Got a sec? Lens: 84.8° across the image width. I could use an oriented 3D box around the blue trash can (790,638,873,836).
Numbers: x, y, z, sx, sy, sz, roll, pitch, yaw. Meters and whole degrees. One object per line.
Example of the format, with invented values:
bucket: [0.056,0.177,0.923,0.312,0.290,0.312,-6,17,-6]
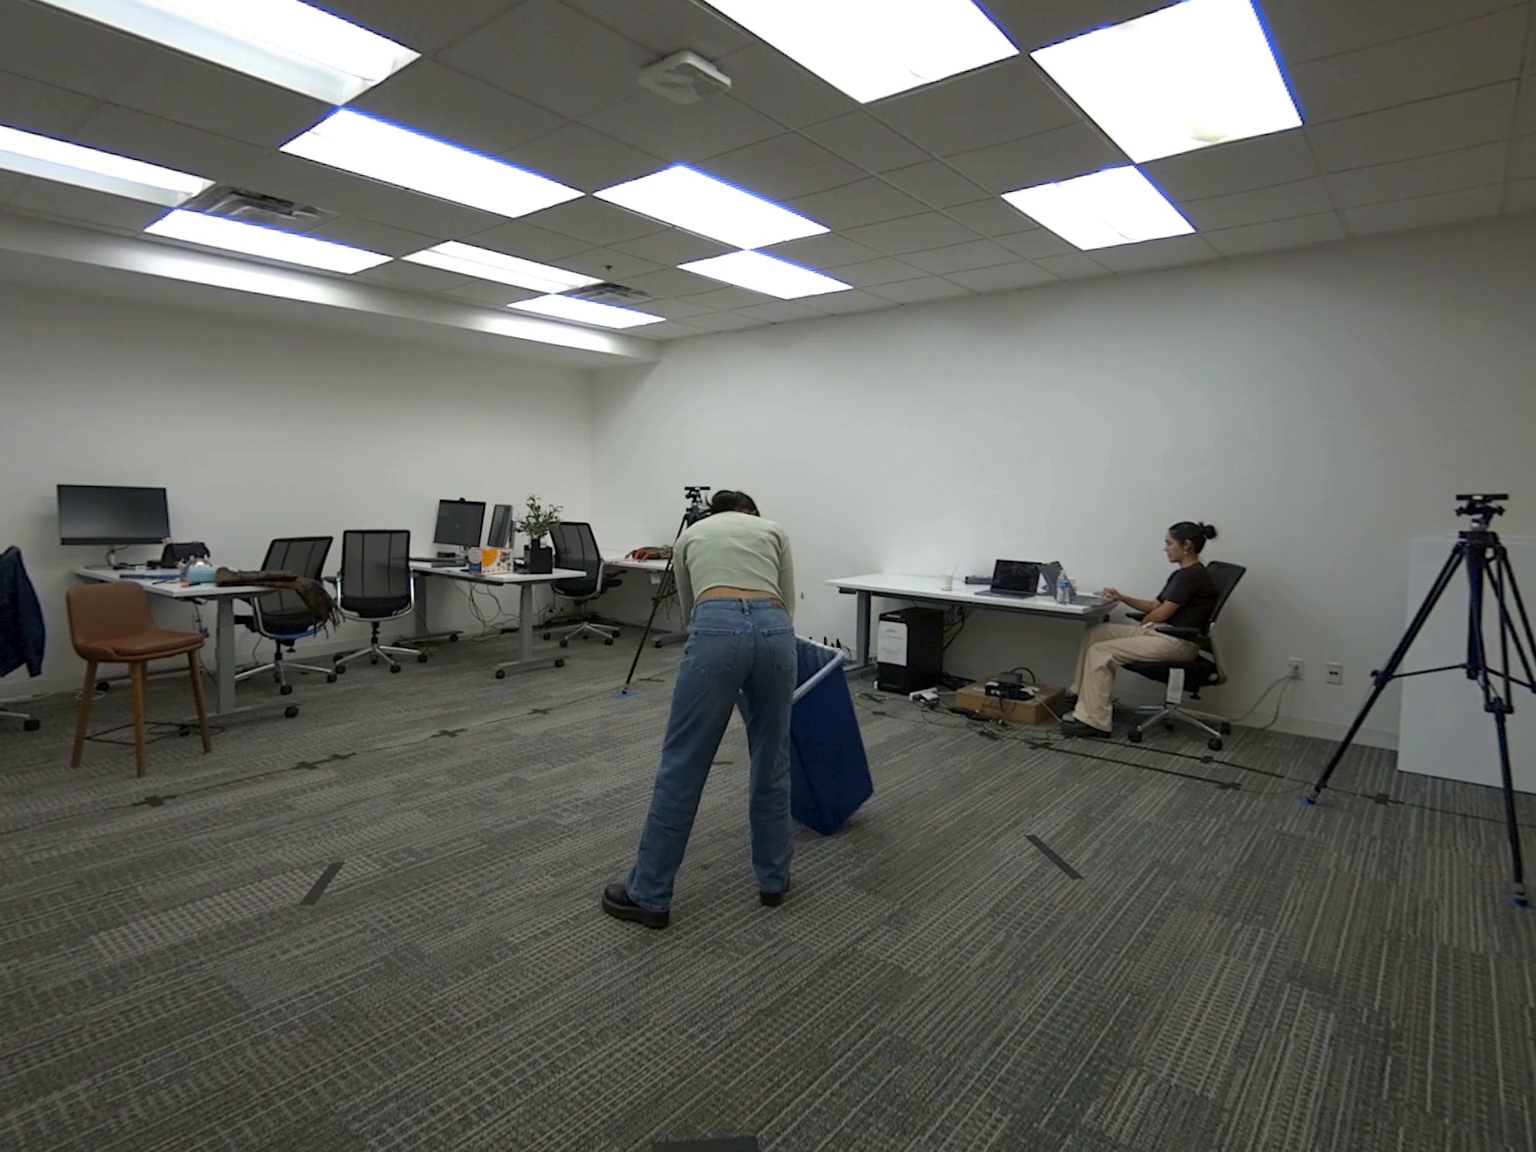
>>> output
blue trash can: [0.129,0.645,3.428,0.370,0.694,0.392,-34,29,-32]
